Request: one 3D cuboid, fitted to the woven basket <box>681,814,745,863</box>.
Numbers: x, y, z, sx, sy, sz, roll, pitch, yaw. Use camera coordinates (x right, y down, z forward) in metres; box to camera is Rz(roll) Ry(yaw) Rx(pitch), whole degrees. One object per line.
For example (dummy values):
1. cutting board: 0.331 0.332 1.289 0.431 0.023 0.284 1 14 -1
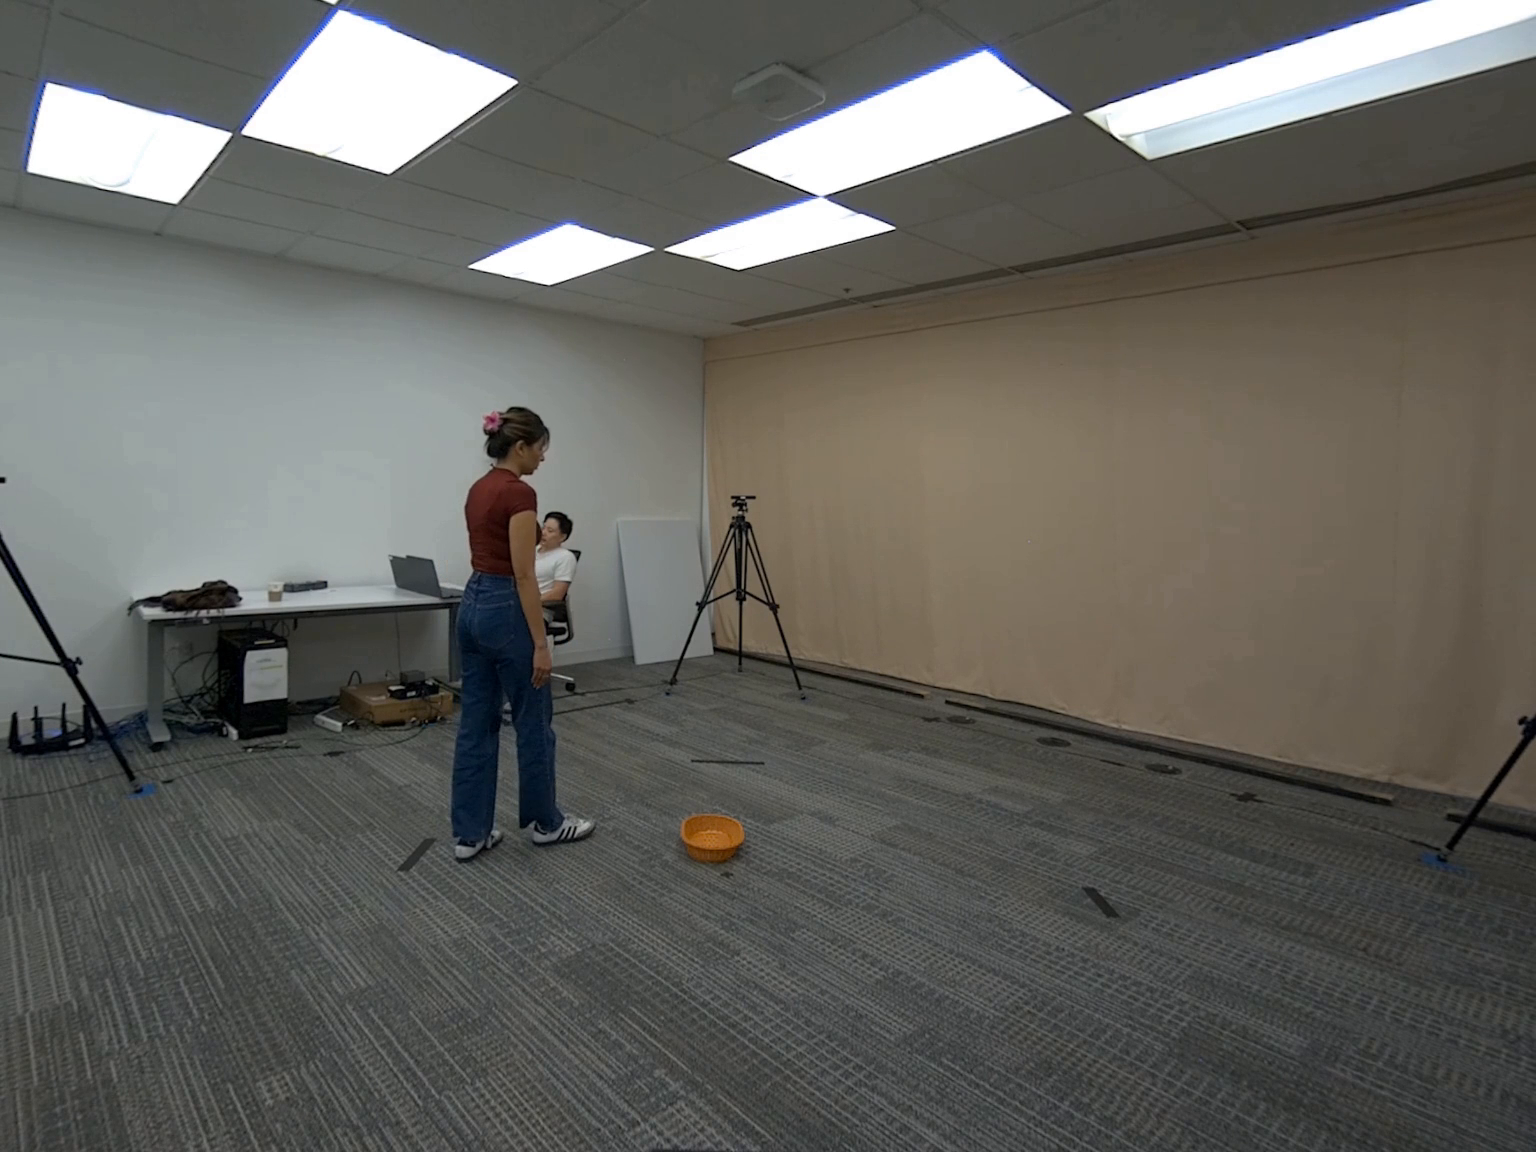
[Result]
1. woven basket: -0.236 1.042 3.336 0.252 0.073 0.352 2 5 -3
